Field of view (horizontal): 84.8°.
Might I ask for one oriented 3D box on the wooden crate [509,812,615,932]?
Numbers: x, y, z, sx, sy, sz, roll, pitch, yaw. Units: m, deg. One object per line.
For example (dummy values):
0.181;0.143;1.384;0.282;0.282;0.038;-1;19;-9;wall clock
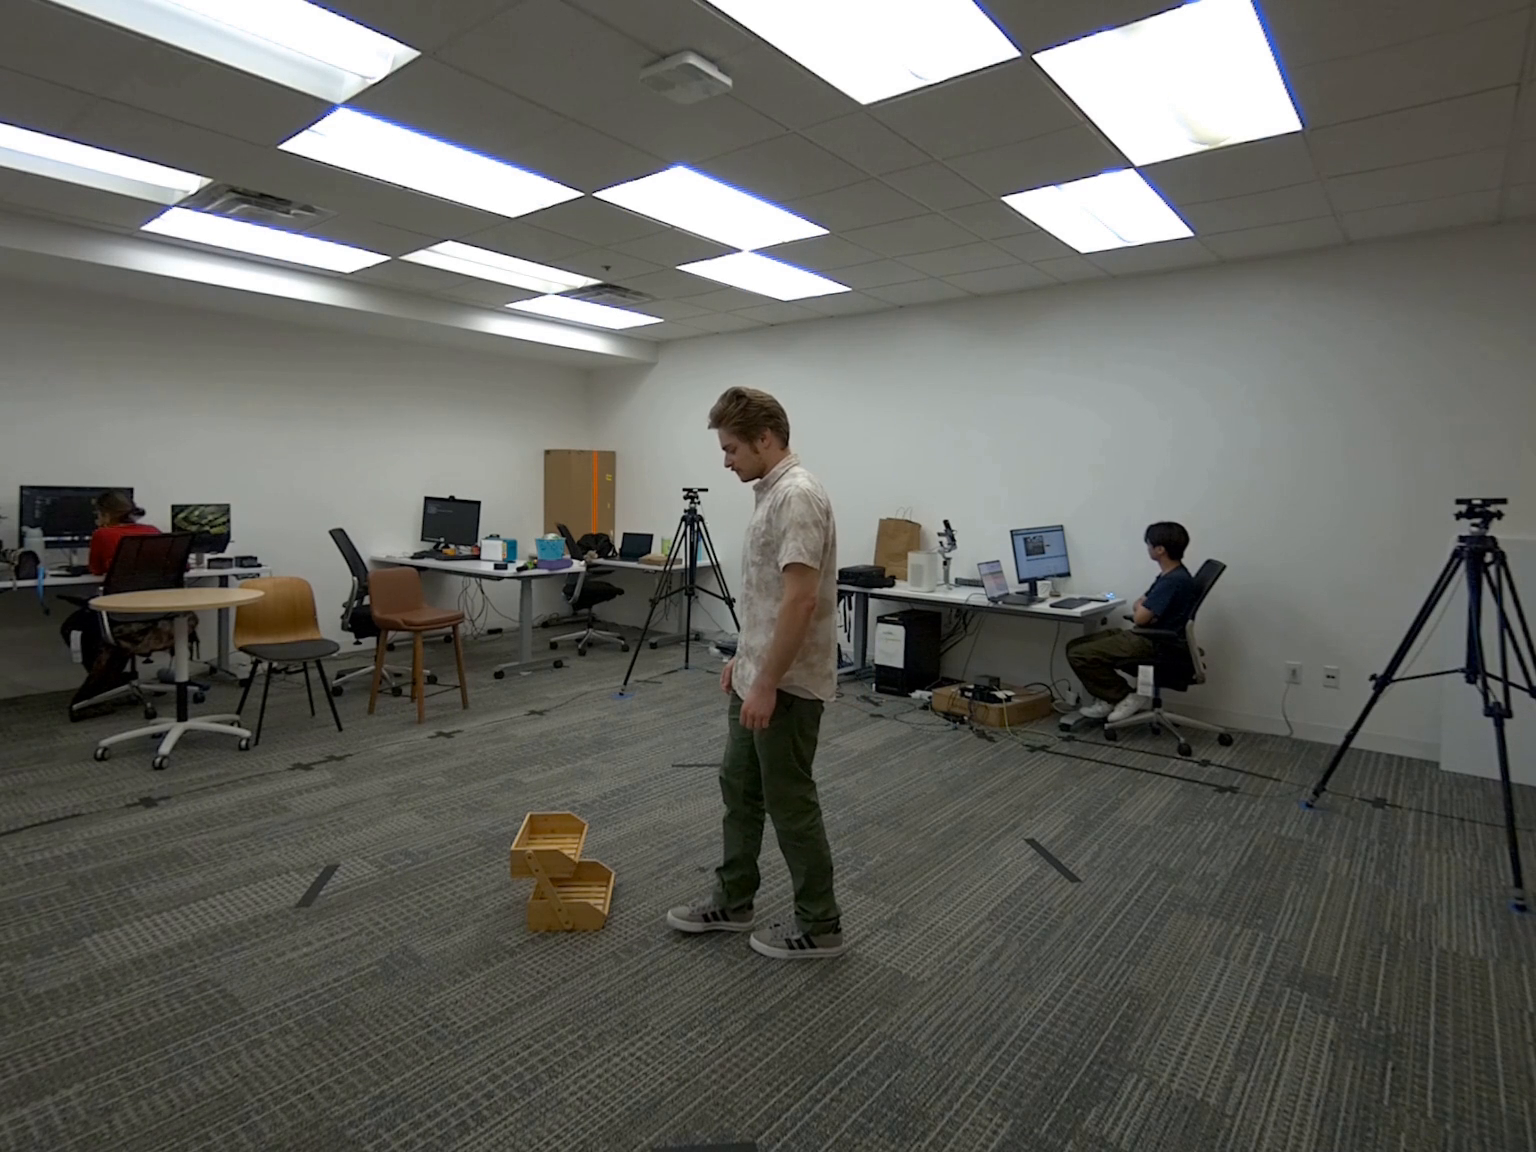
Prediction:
-0.671;0.956;2.800;0.301;0.272;0.327;0;5;-4;wooden crate
